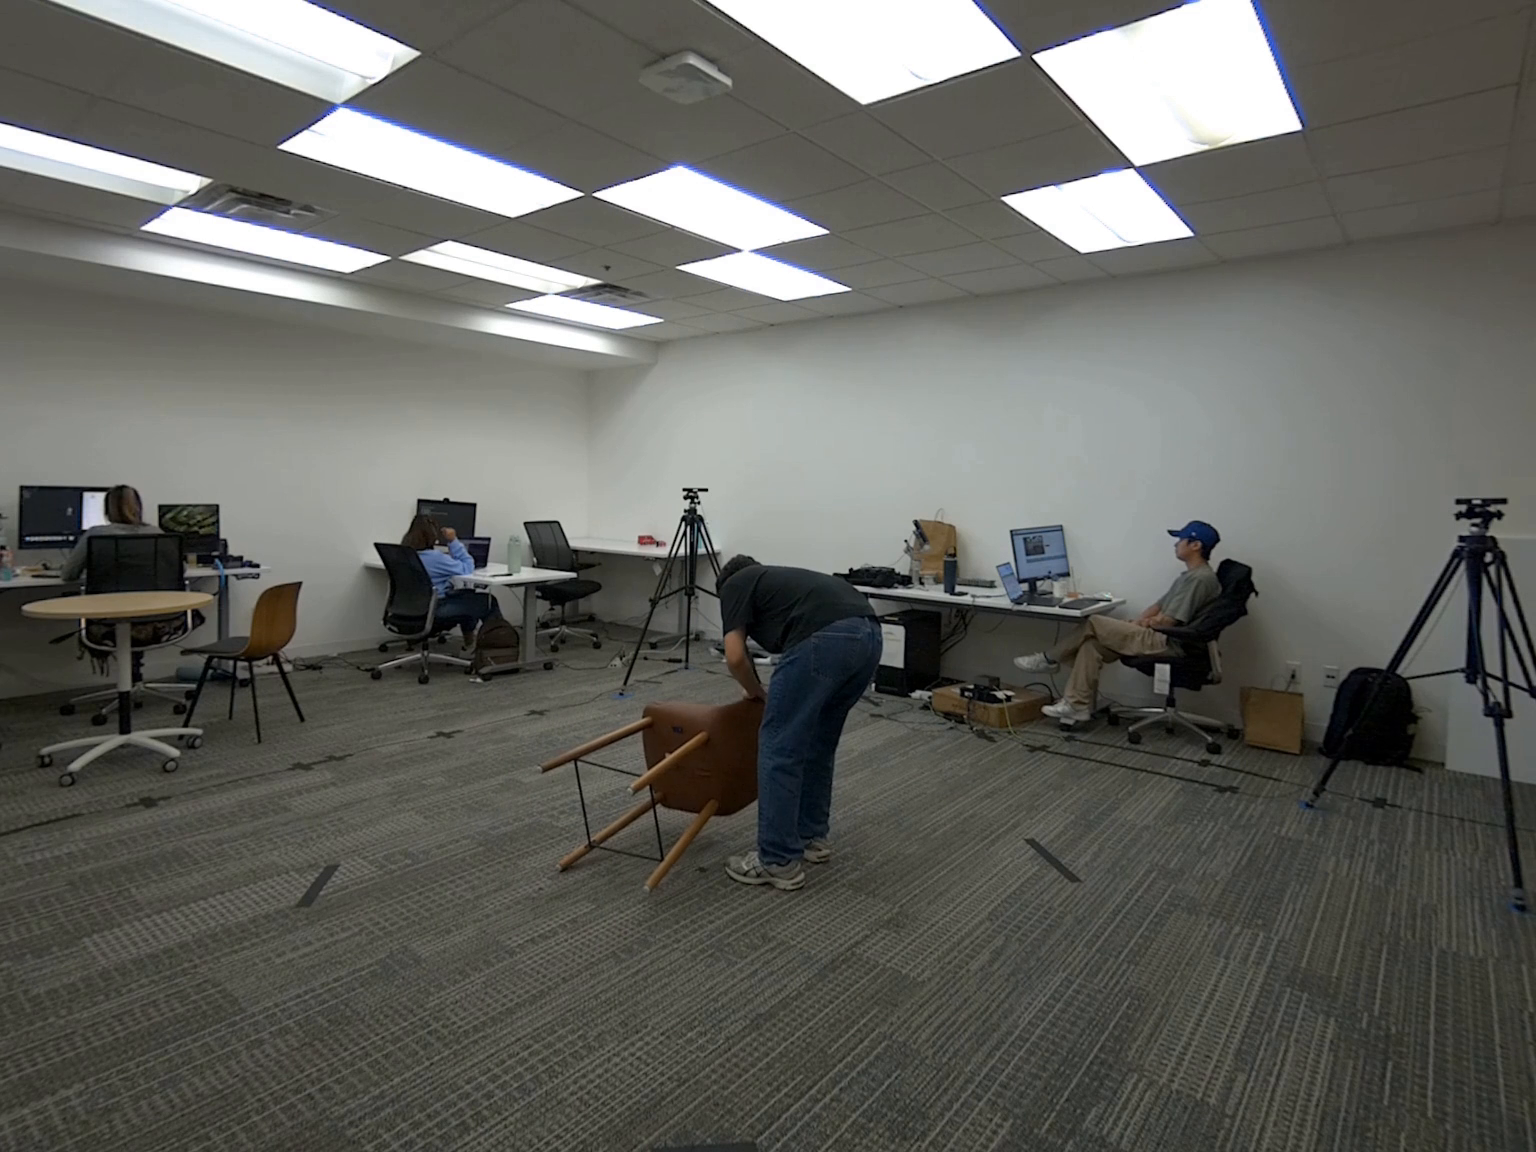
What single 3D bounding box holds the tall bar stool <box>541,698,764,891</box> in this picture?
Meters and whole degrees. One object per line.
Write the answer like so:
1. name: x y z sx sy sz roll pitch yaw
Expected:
1. tall bar stool: -0.382 0.761 3.255 0.481 0.451 0.875 -3 13 35
